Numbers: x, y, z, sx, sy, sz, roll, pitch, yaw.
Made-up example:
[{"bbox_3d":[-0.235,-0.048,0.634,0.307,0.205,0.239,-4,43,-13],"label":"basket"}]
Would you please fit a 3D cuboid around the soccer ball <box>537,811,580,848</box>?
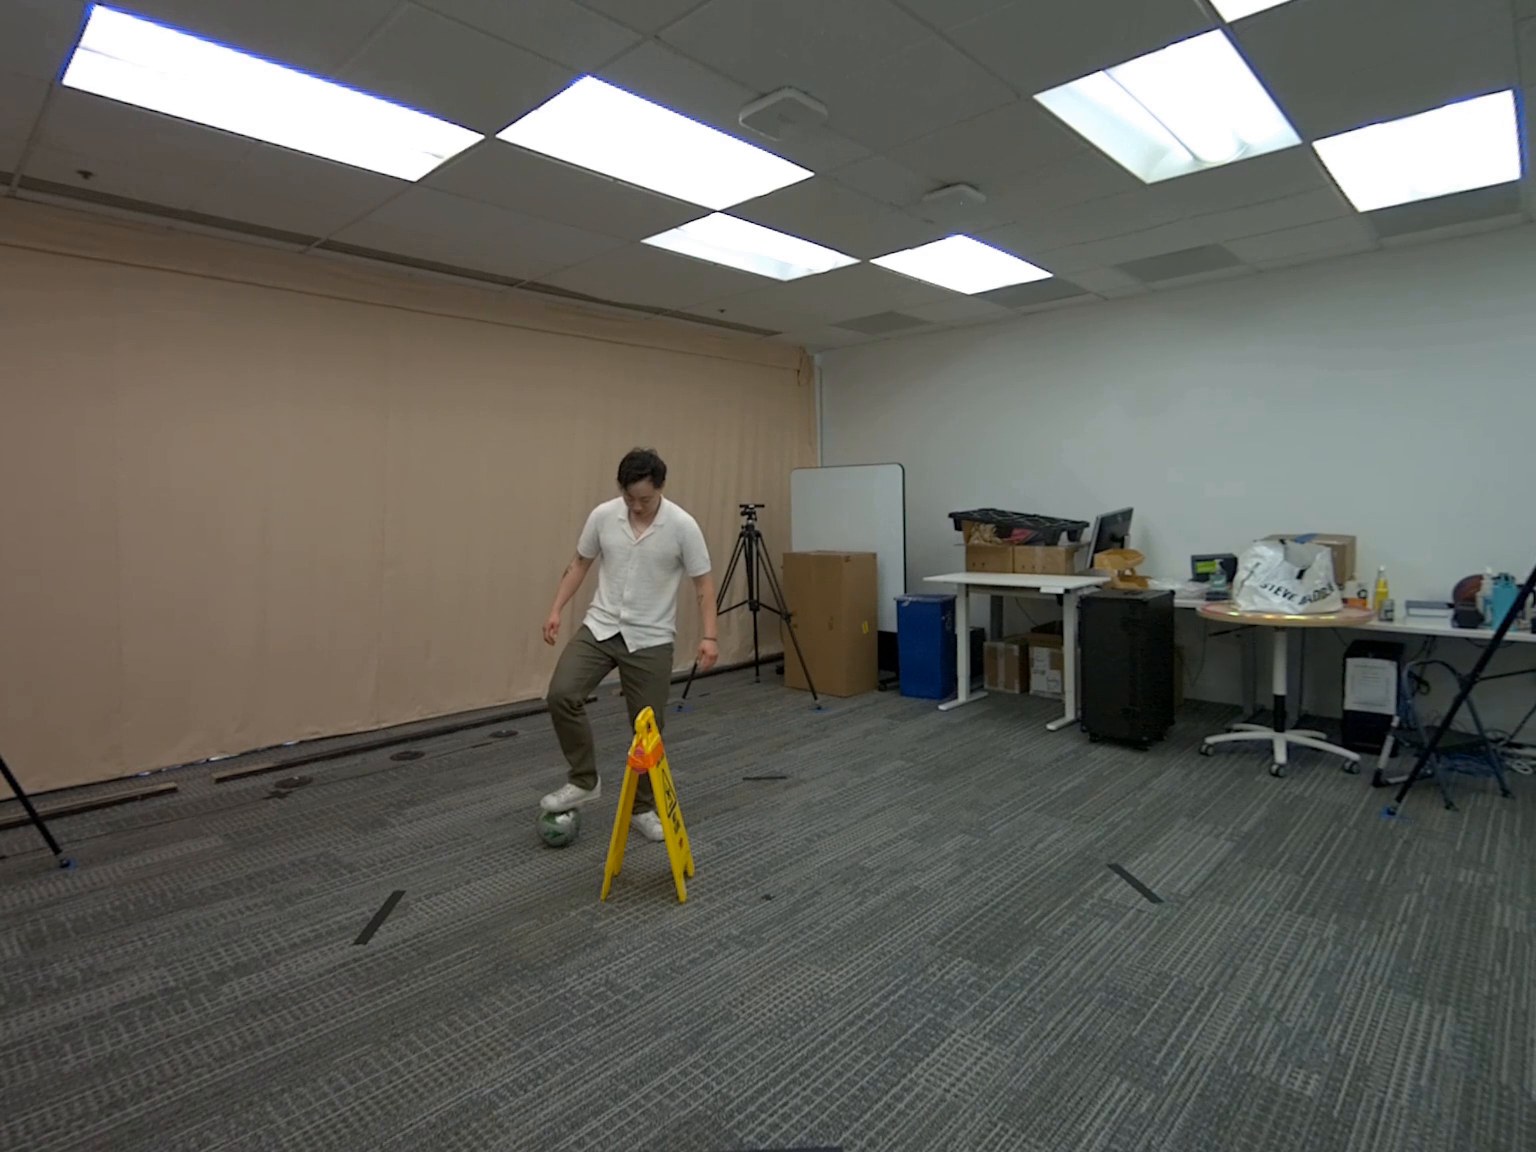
[{"bbox_3d":[-0.871,1.026,3.496,0.187,0.187,0.188,-1,4,-2],"label":"soccer ball"}]
